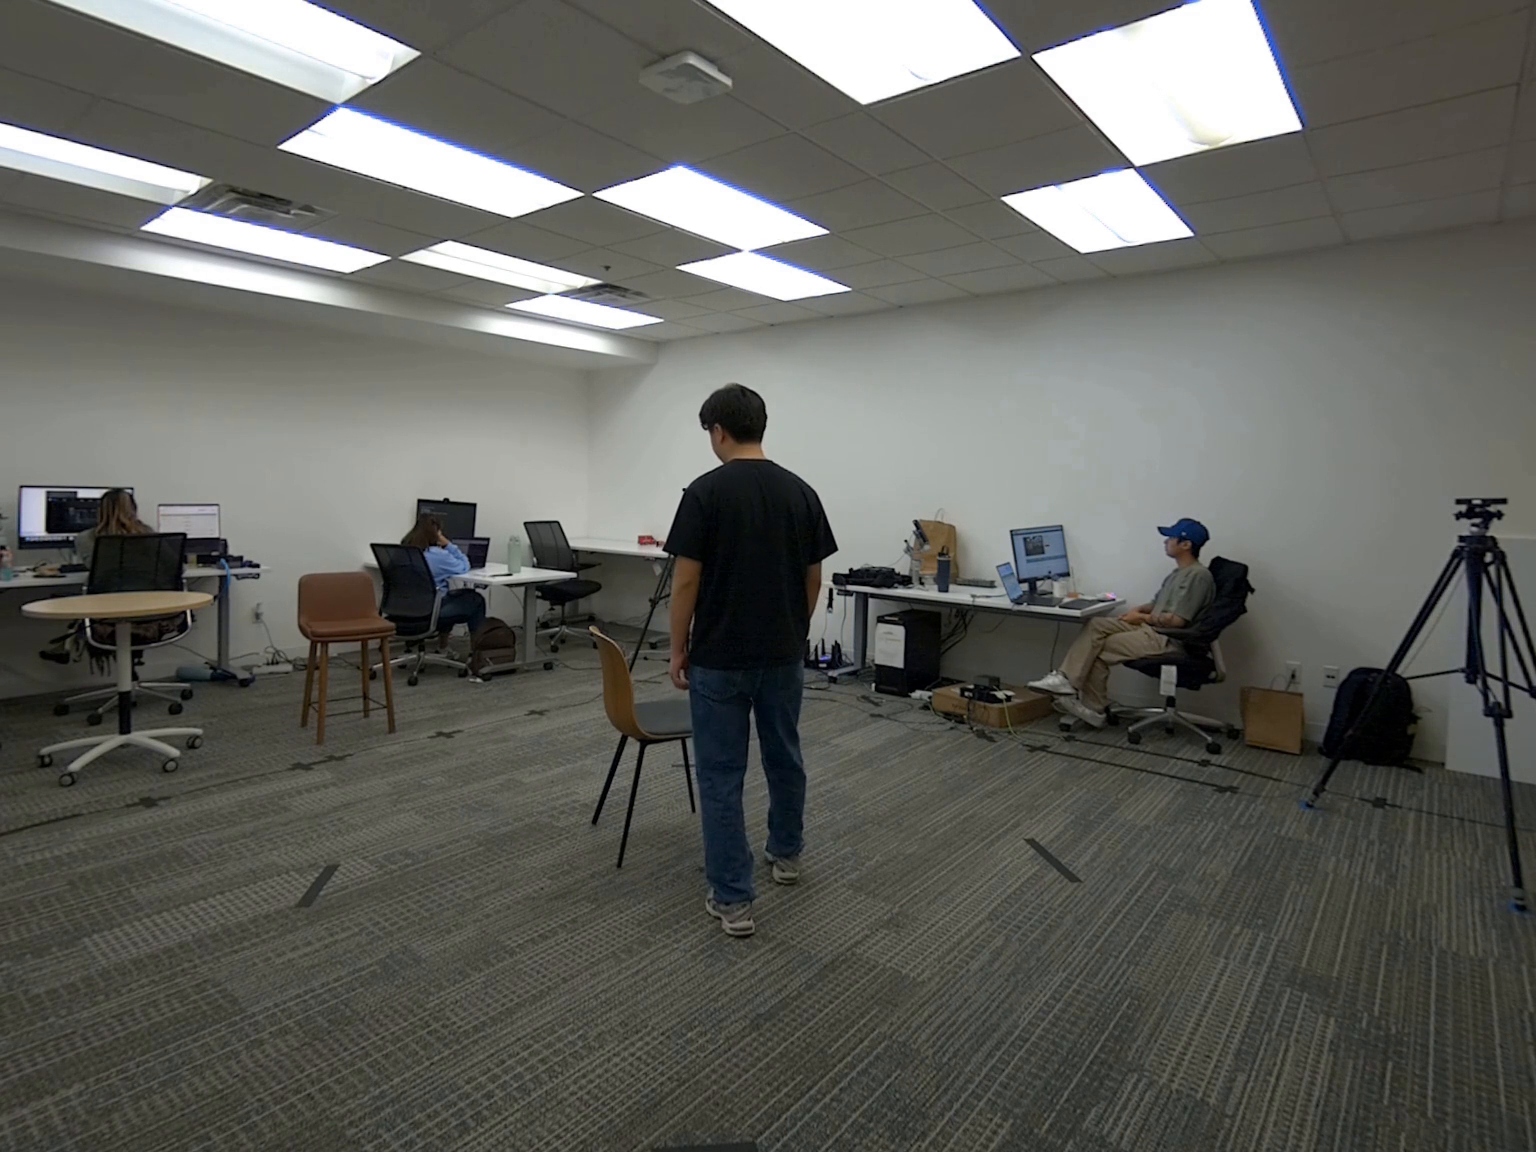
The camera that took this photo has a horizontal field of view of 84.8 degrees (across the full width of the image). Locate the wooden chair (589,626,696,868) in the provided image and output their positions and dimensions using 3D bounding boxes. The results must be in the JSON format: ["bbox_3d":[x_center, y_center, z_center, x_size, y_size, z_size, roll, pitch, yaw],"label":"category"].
[{"bbox_3d":[-0.429,0.612,3.360,0.513,0.873,0.490,-5,5,-22],"label":"wooden chair"}]
